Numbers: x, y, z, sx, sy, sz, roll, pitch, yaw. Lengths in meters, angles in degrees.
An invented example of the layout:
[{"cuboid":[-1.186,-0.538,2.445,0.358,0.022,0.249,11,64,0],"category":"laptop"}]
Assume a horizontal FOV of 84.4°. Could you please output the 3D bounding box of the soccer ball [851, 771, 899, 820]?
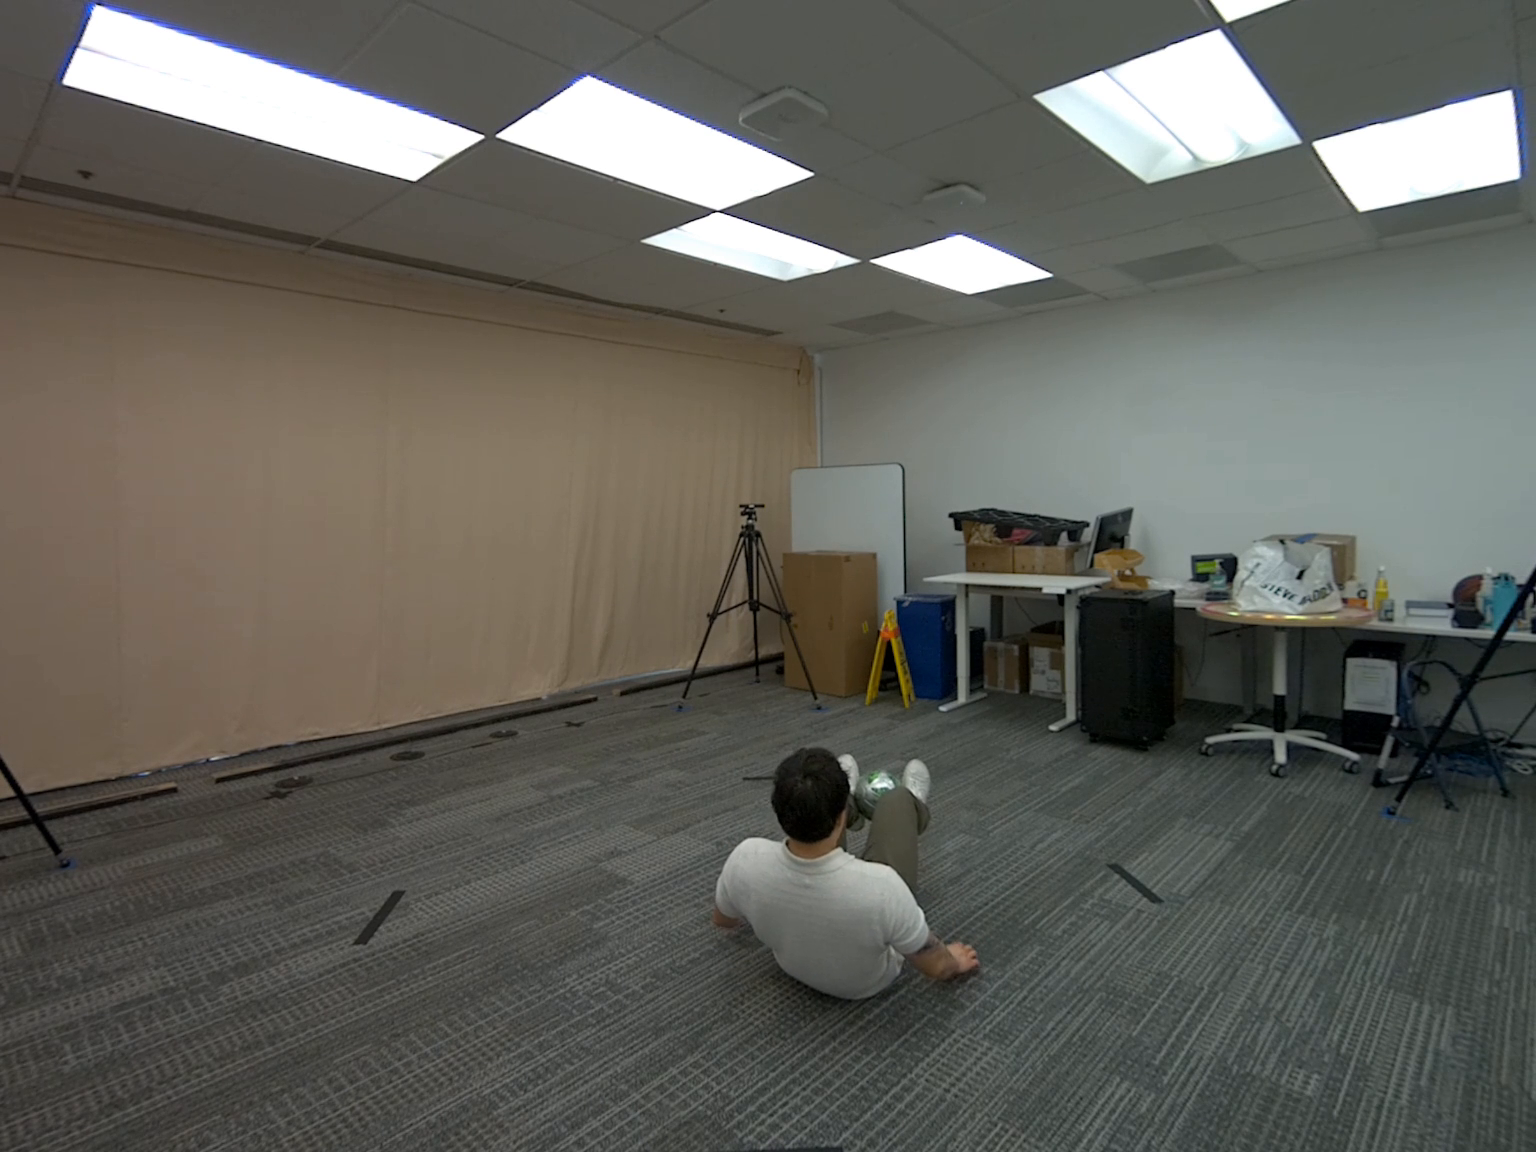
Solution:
[{"cuboid":[0.418,0.814,3.091,0.187,0.187,0.188,-1,4,-2],"category":"soccer ball"}]
